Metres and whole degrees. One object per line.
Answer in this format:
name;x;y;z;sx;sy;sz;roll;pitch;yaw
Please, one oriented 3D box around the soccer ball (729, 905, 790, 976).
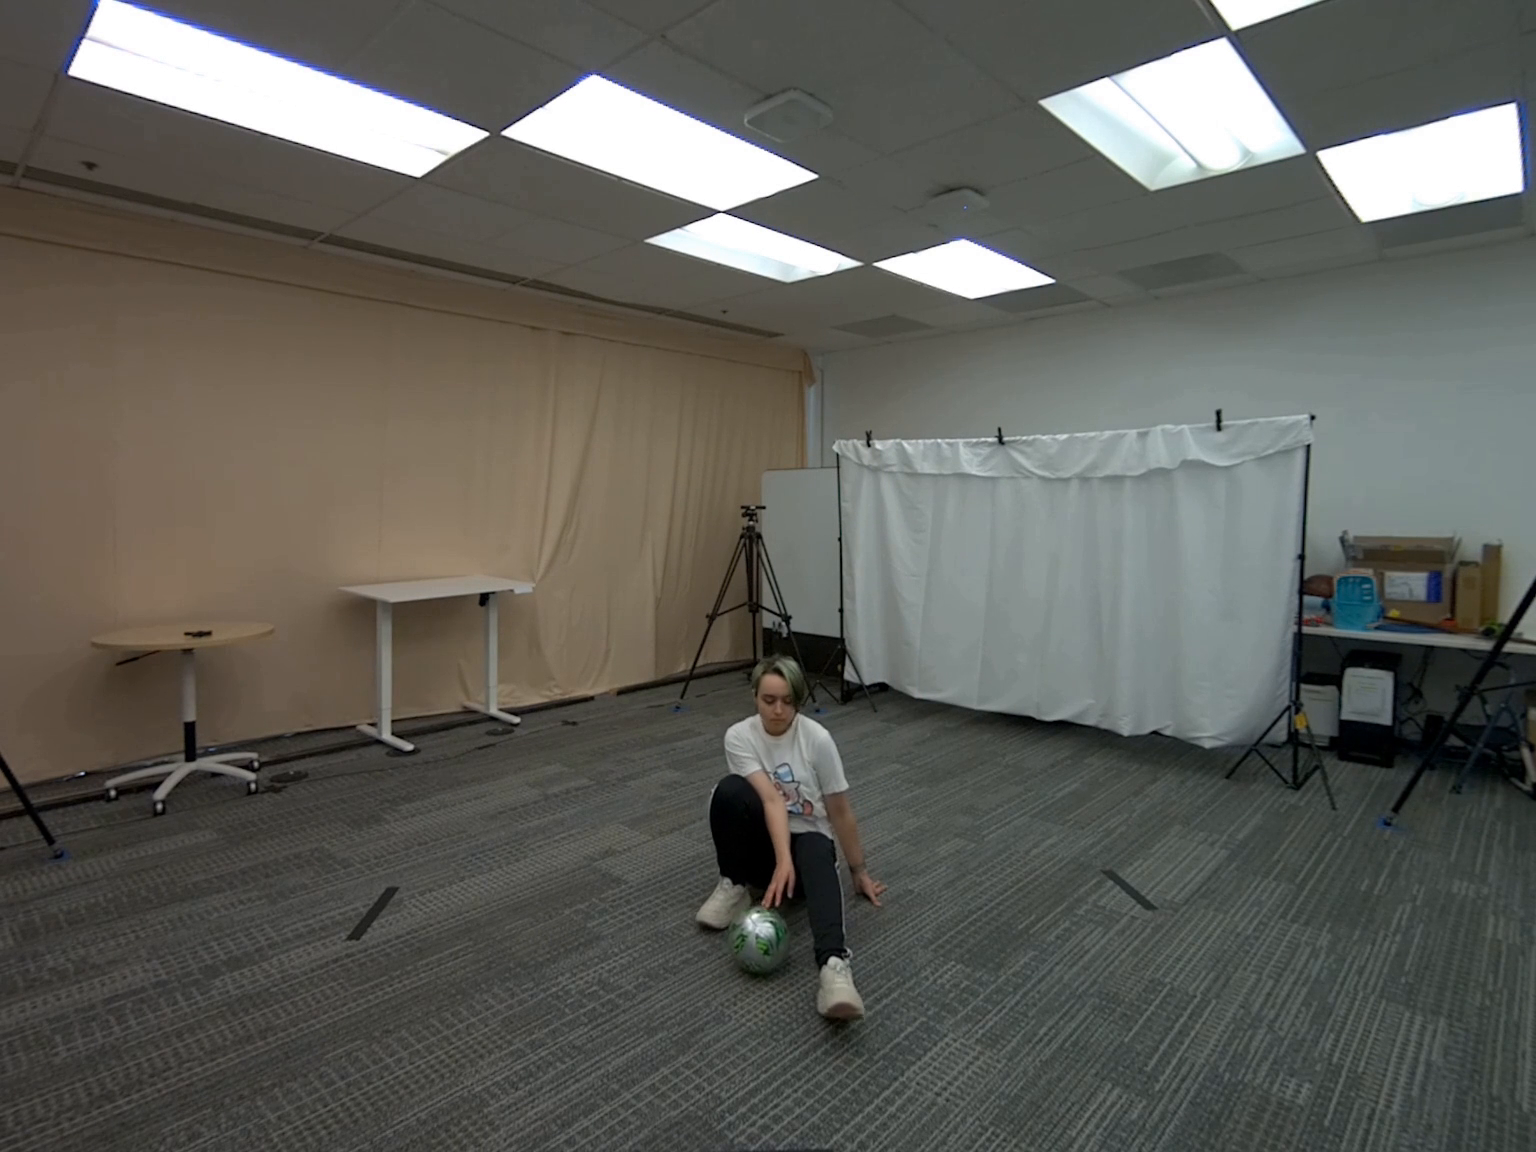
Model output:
soccer ball;-0.027;1.087;2.526;0.187;0.187;0.188;0;4;-2
